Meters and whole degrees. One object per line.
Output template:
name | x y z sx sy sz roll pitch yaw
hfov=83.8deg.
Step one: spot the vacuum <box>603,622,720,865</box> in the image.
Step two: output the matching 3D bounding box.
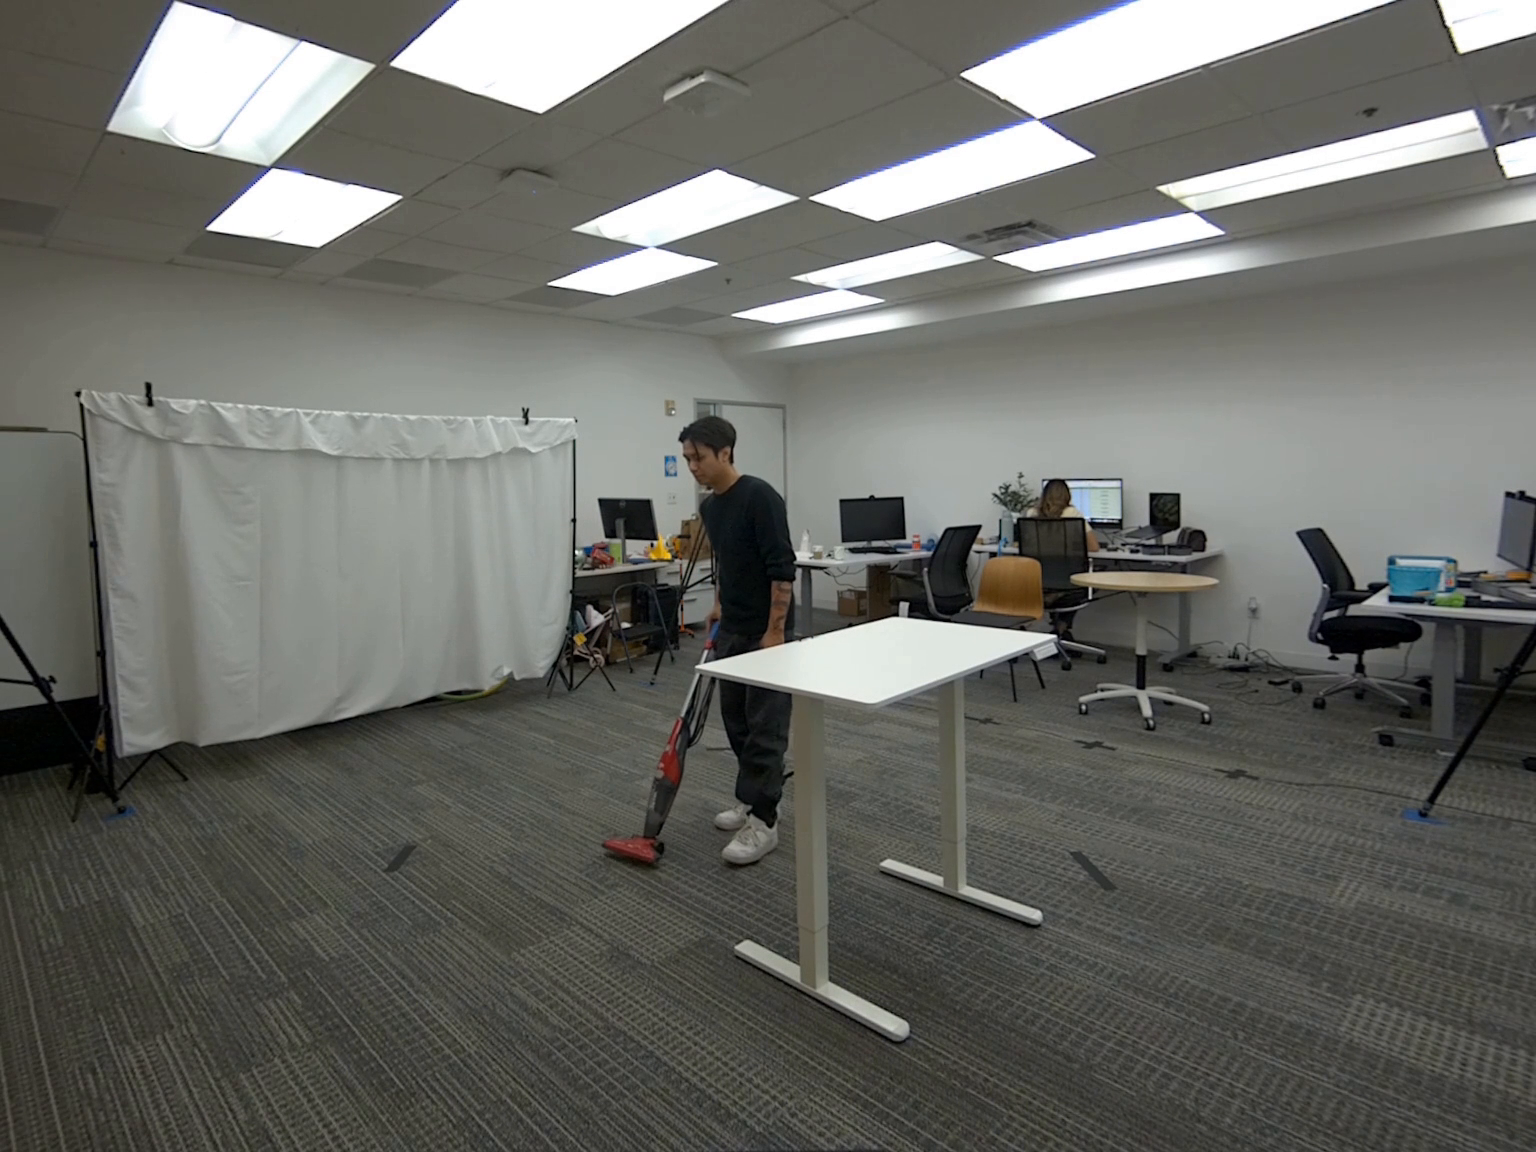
vacuum | -0.323 0.587 3.393 0.259 1.062 0.138 -1 -34 35
